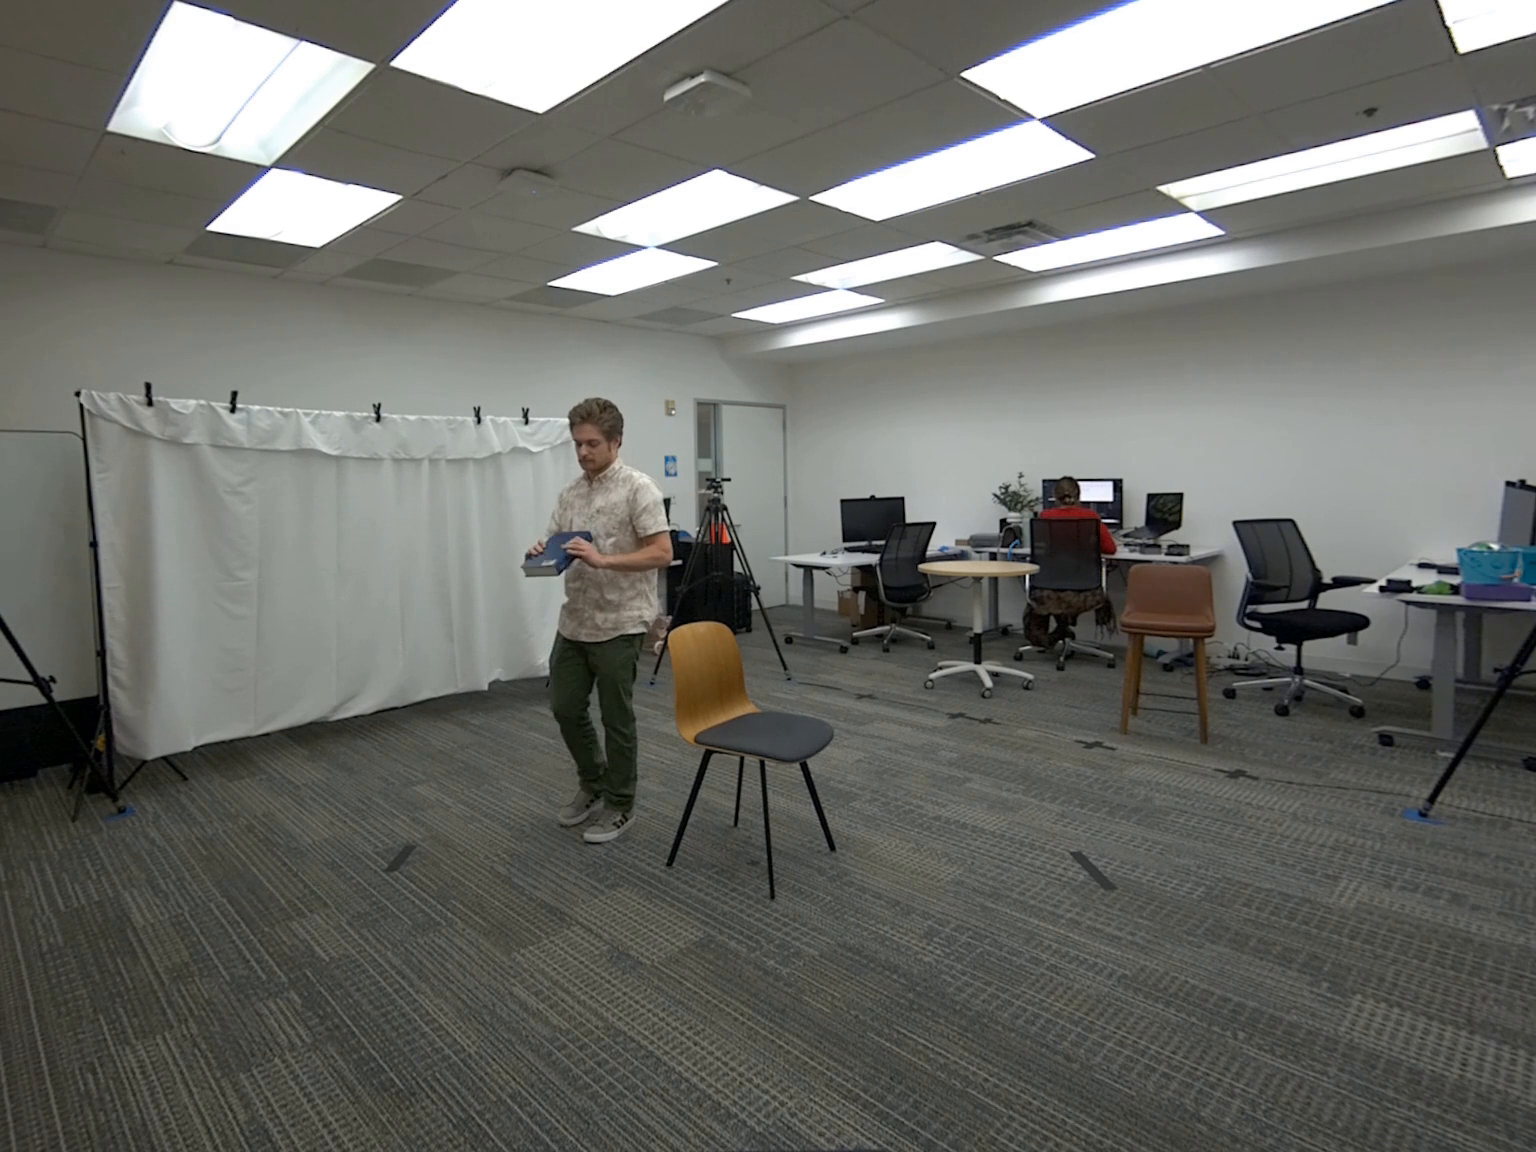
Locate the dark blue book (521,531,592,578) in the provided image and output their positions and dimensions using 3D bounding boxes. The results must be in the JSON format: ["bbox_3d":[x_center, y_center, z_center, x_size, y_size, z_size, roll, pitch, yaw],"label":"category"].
[{"bbox_3d":[-0.786,-0.080,3.151,0.167,0.044,0.246,-3,32,26],"label":"dark blue book"}]
